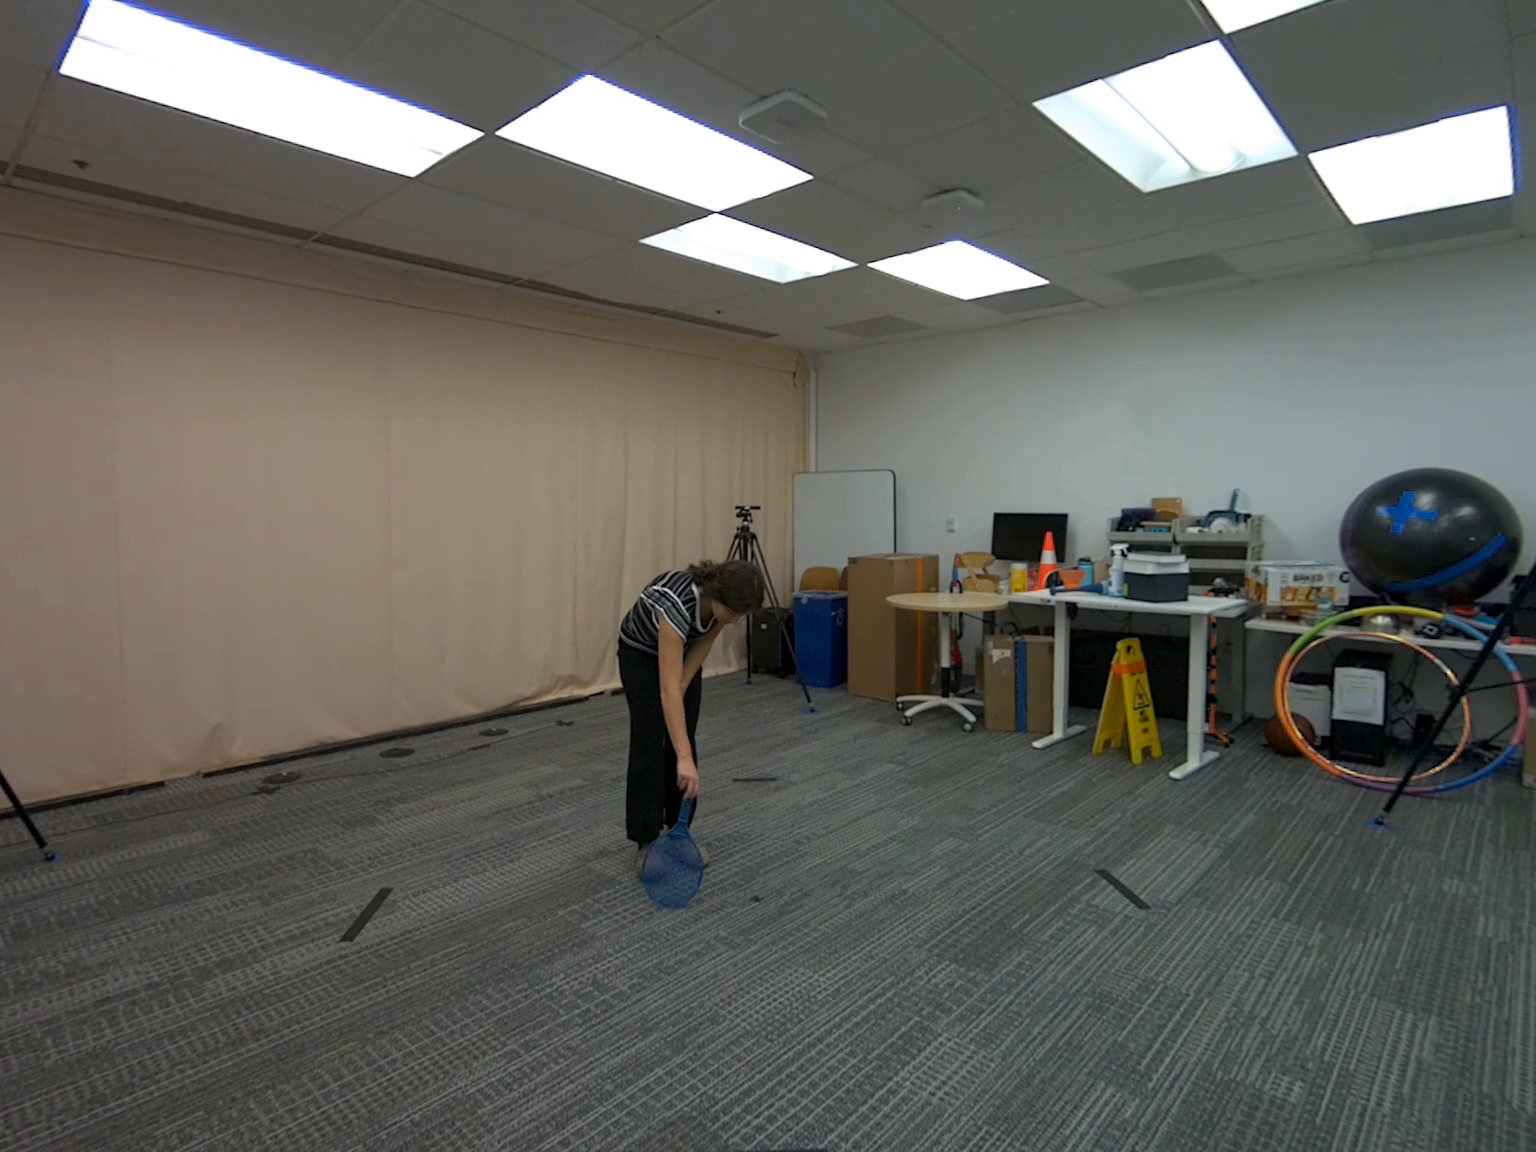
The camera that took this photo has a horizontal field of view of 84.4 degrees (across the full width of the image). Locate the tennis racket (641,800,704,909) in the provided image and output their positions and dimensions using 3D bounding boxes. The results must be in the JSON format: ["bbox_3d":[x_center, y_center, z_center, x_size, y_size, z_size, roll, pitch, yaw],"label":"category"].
[{"bbox_3d":[-0.305,0.939,2.915,0.217,0.432,0.031,14,4,12],"label":"tennis racket"}]
